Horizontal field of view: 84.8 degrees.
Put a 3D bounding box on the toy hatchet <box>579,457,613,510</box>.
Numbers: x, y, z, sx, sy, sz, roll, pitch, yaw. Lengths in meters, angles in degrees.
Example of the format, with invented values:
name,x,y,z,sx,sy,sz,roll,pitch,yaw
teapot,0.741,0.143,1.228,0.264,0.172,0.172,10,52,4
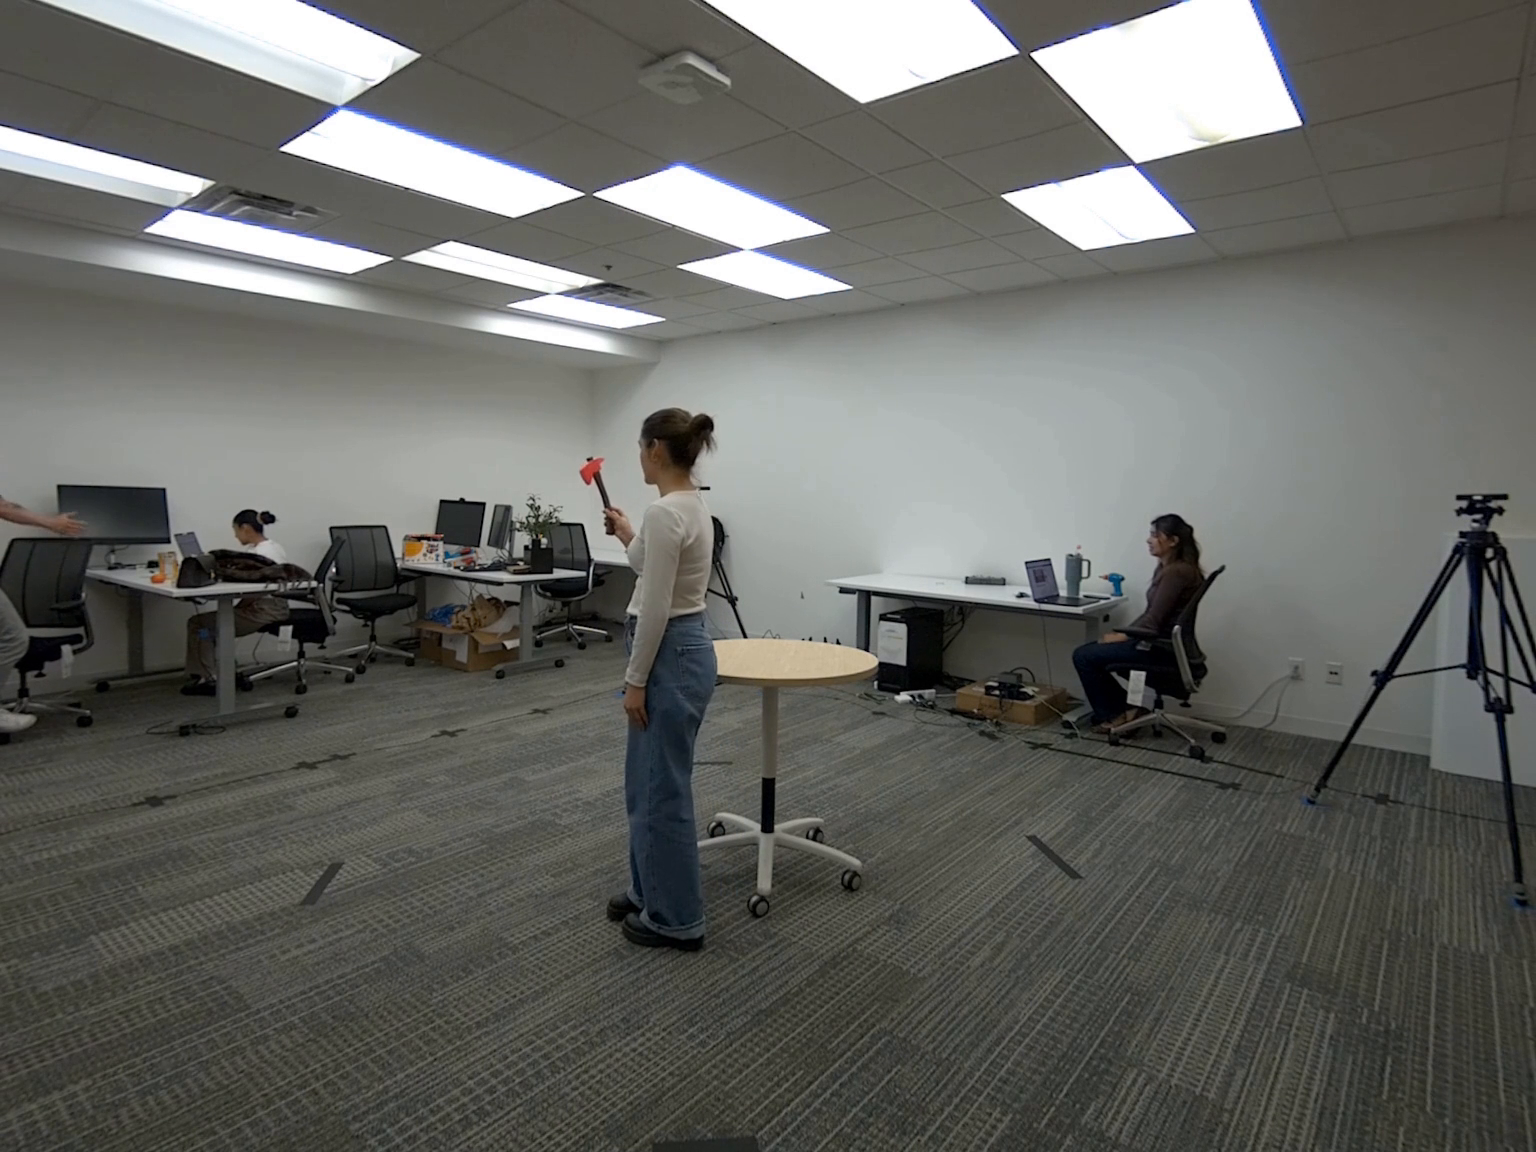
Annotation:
name,x,y,z,sx,sy,sz,roll,pitch,yaw
toy hatchet,-0.574,-0.273,2.840,0.030,0.270,0.128,-11,1,29
